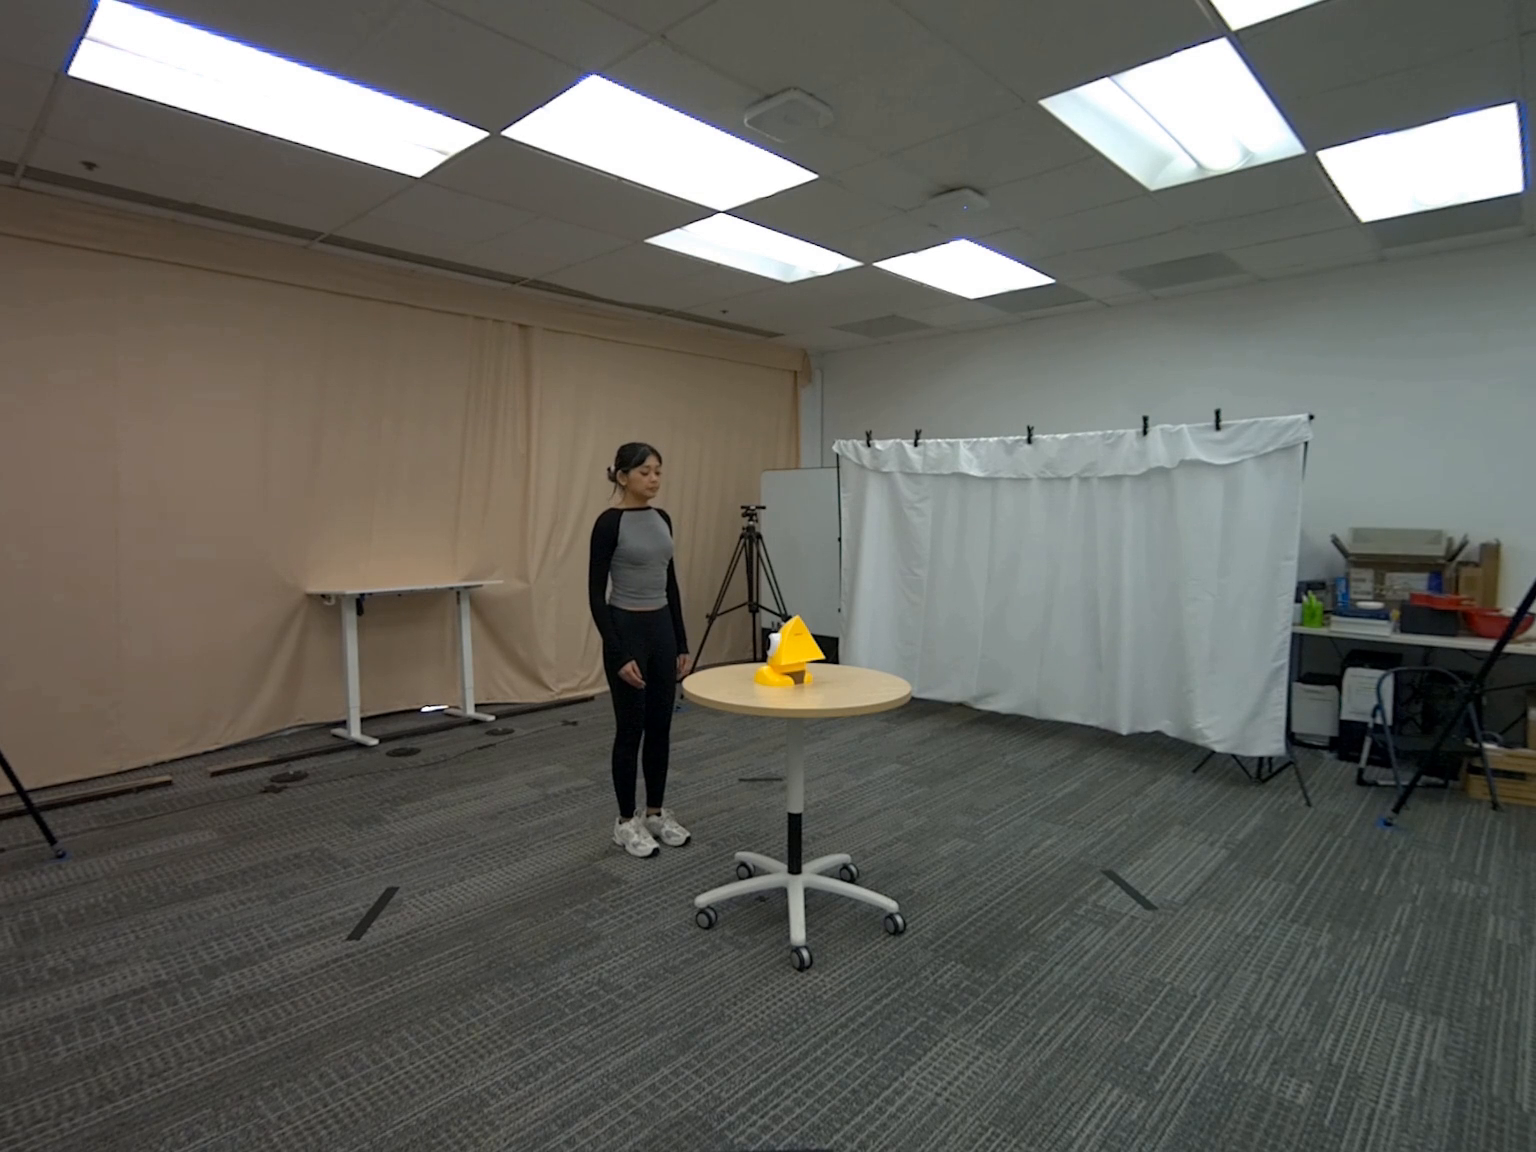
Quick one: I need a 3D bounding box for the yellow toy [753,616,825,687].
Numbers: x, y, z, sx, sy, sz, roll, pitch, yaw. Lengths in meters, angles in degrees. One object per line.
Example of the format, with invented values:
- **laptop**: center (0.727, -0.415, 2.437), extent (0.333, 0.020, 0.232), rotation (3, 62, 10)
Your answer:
- **yellow toy**: center (0.062, 0.246, 2.875), extent (0.198, 0.230, 0.199), rotation (-2, 3, -41)
